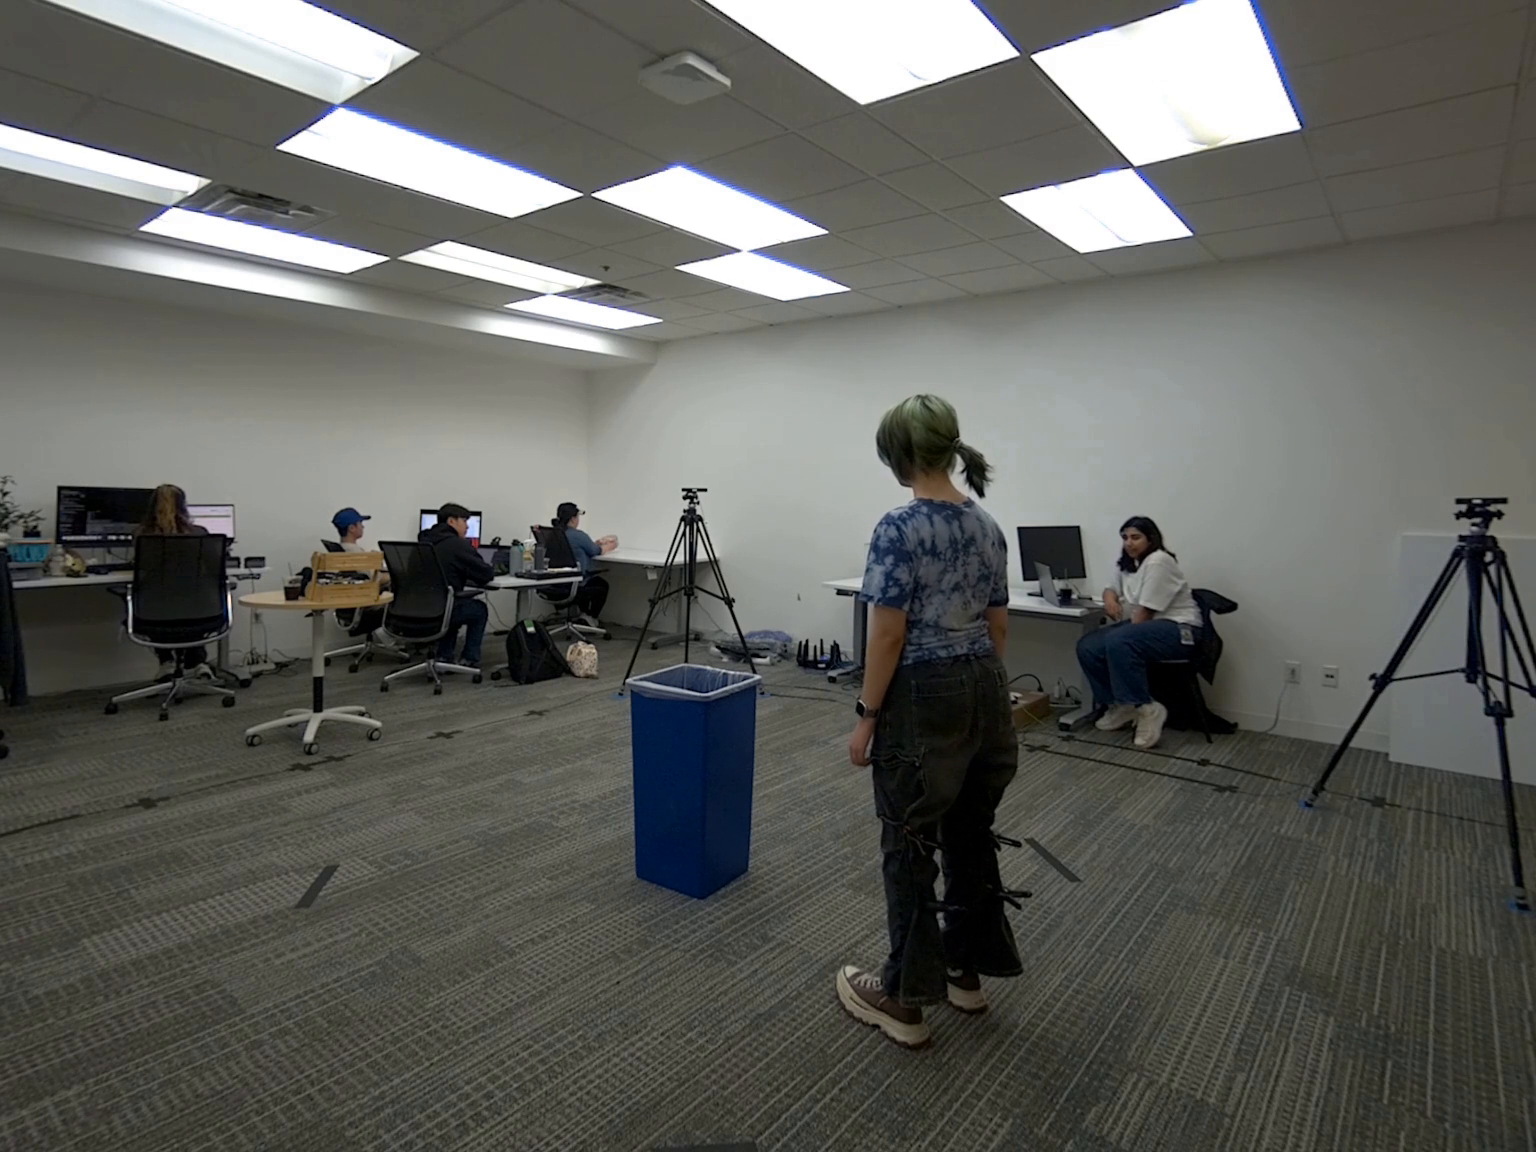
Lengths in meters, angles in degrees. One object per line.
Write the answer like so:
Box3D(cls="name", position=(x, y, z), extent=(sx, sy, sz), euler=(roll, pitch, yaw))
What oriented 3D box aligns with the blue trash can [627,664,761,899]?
Box3D(cls="blue trash can", position=(-0.277, 0.715, 3.052), extent=(0.390, 0.712, 0.363), euler=(3, 3, 33))
